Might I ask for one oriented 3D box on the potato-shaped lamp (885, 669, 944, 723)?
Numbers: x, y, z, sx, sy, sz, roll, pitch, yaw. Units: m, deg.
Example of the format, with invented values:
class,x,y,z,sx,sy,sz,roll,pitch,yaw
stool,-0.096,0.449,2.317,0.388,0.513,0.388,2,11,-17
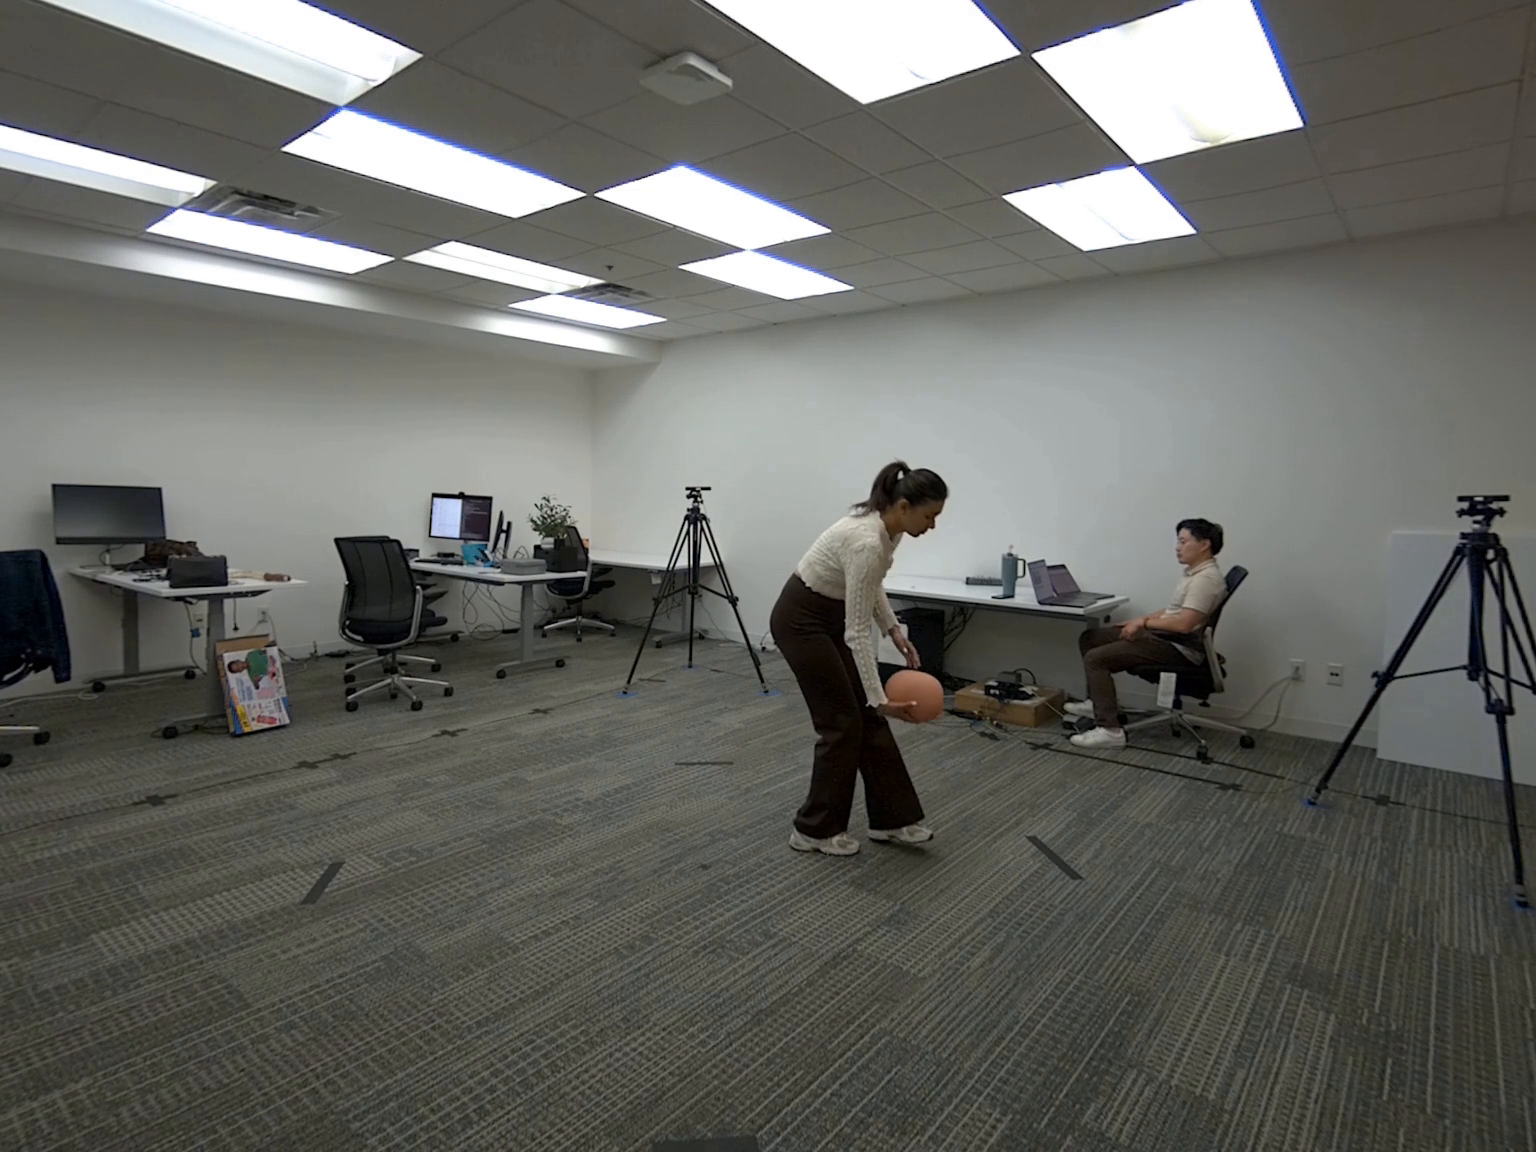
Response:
class,x,y,z,sx,sy,sz,roll,pitch,yaw
potato-shaped lamp,0.515,0.427,3.053,0.197,0.172,0.164,6,-7,-6
